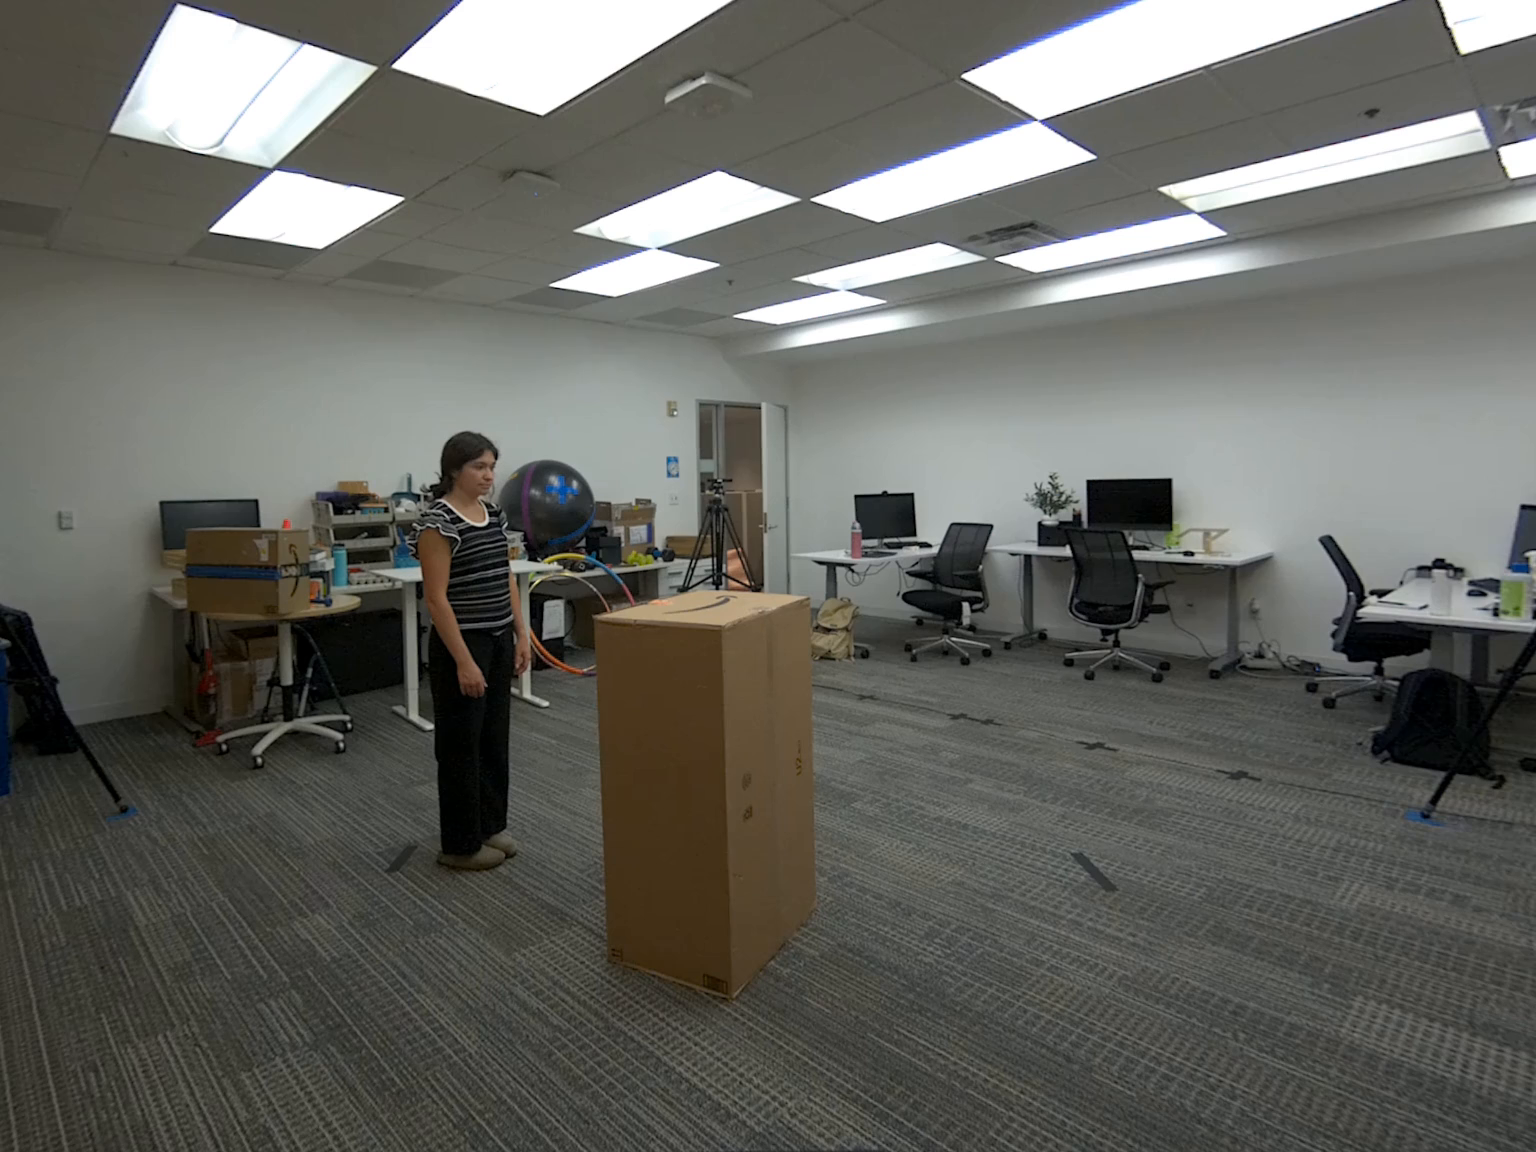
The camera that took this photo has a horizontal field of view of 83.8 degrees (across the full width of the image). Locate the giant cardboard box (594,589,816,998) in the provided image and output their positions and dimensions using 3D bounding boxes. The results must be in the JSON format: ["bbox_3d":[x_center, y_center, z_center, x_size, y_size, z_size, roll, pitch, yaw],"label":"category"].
[{"bbox_3d":[-0.171,0.599,2.597,0.437,1.021,0.565,1,5,29],"label":"giant cardboard box"}]
